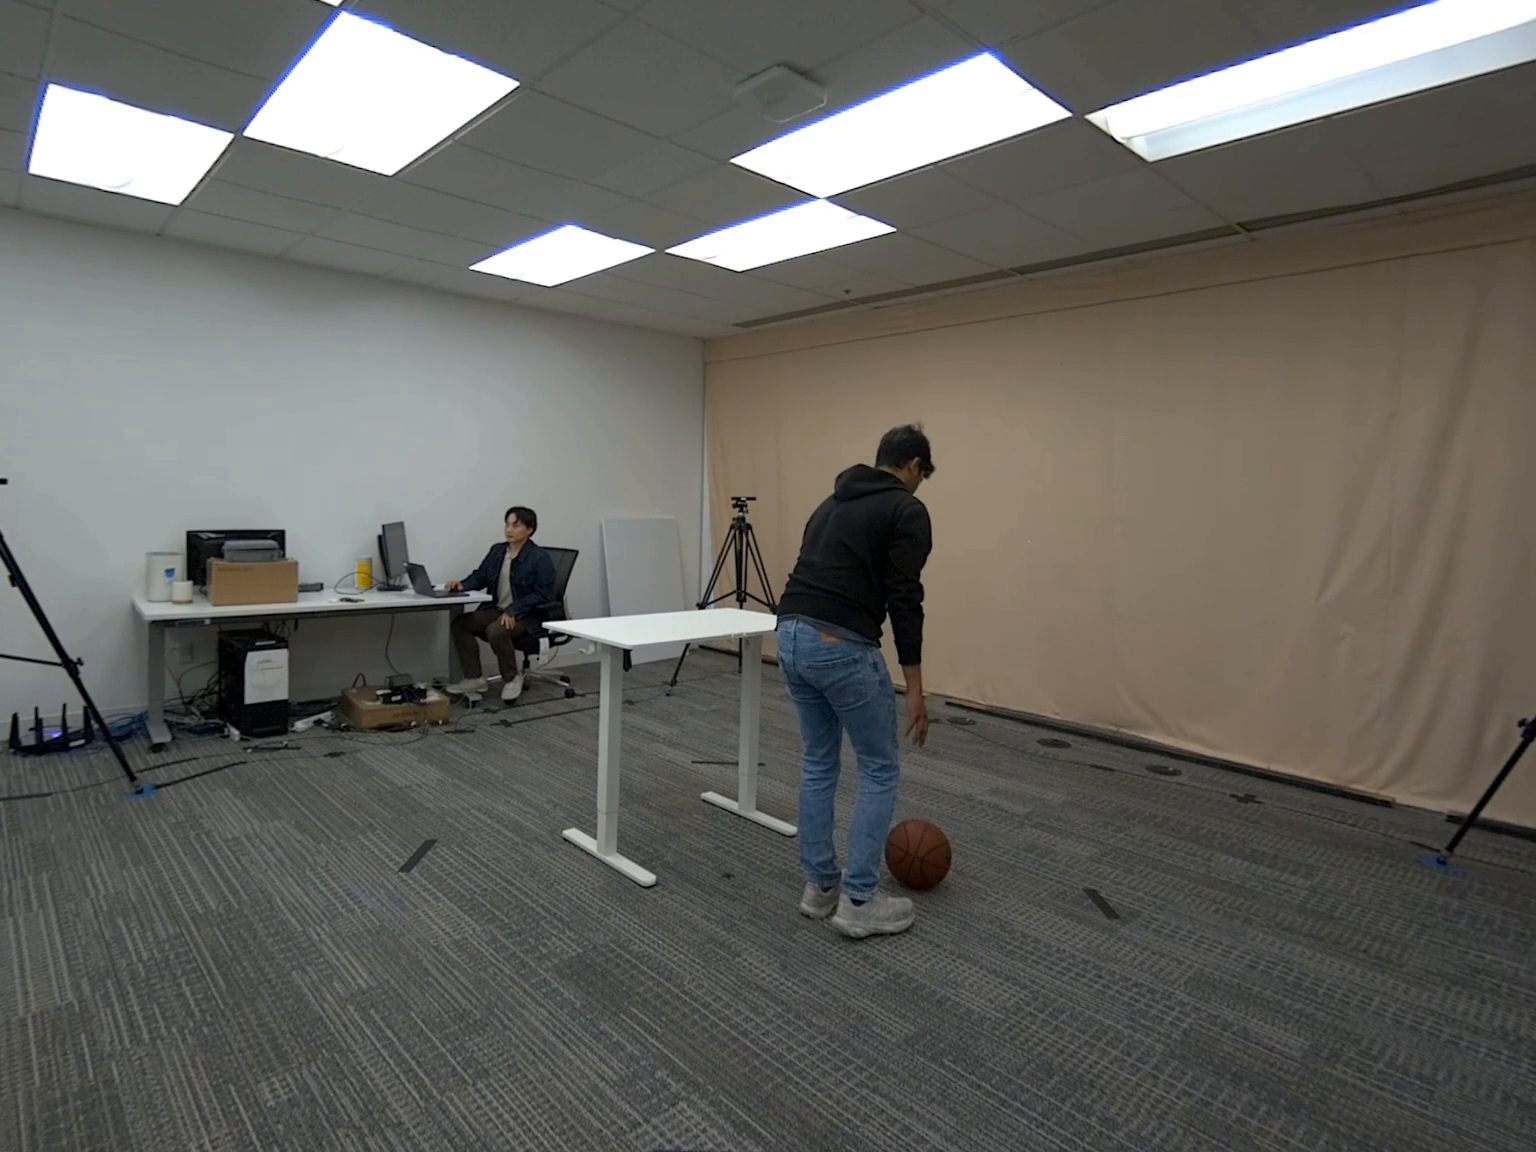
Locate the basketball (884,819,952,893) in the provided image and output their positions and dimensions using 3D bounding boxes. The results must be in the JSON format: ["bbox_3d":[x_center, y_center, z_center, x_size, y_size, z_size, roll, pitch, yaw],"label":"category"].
[{"bbox_3d":[0.546,1.009,3.054,0.236,0.235,0.237,1,4,-1],"label":"basketball"}]
